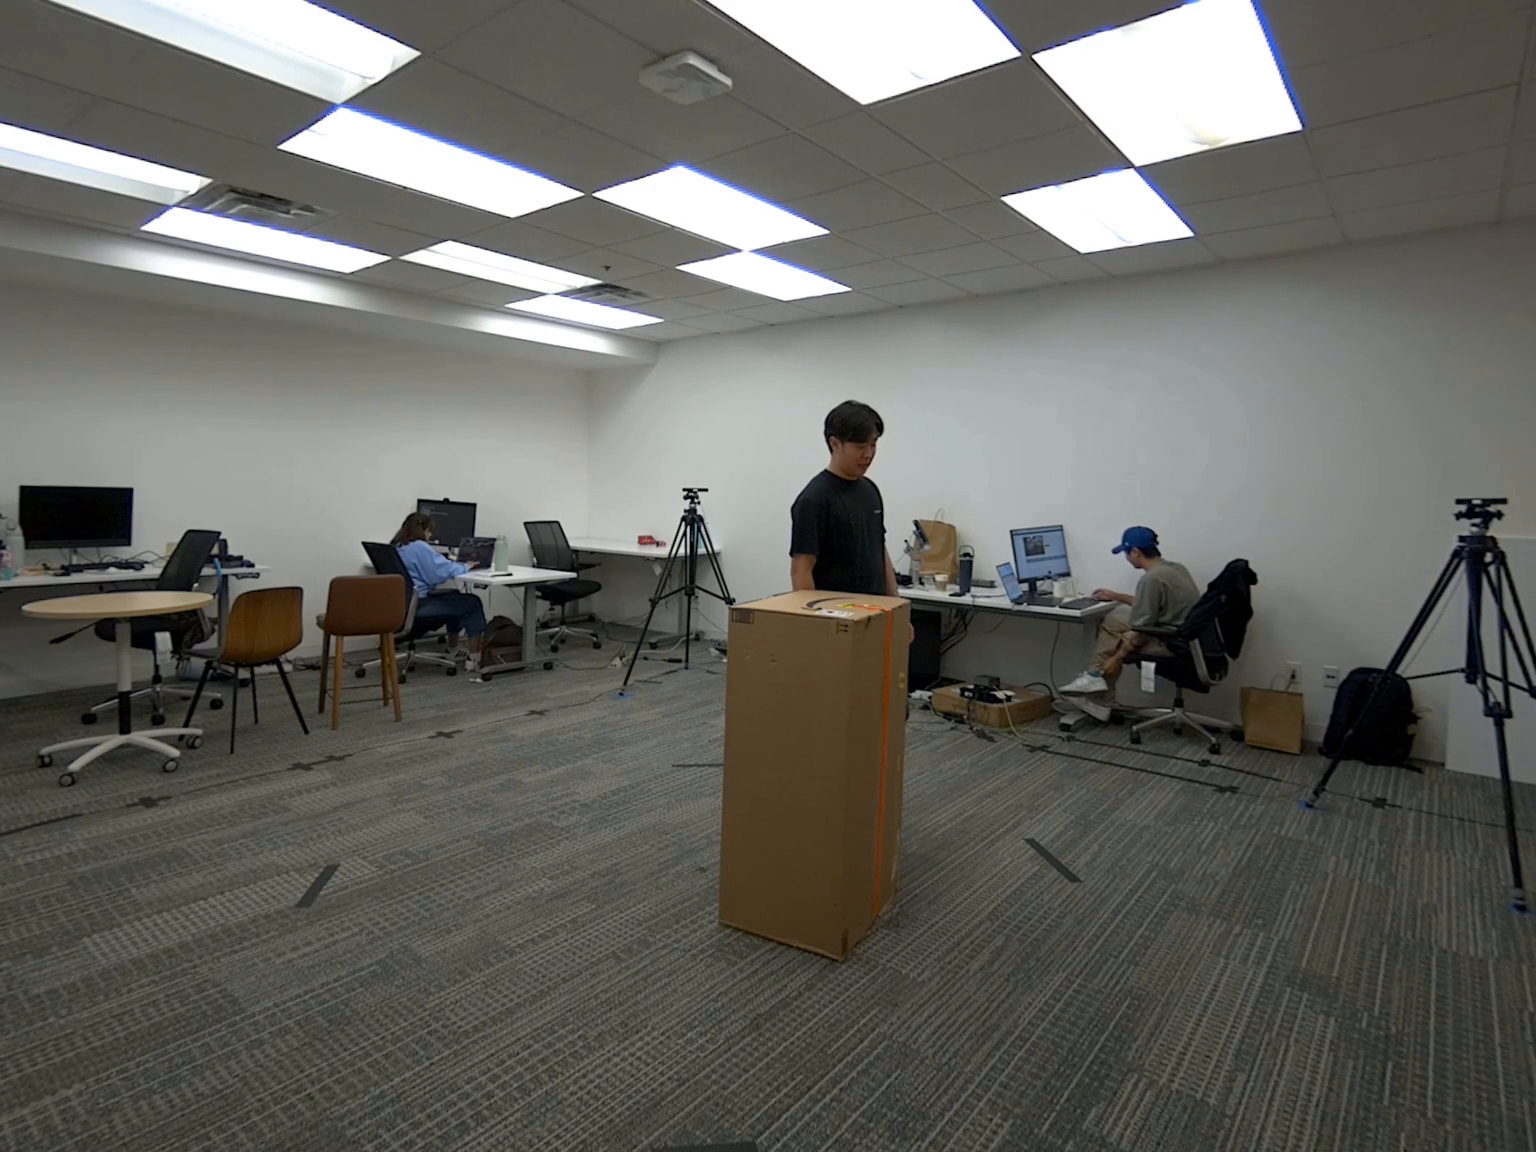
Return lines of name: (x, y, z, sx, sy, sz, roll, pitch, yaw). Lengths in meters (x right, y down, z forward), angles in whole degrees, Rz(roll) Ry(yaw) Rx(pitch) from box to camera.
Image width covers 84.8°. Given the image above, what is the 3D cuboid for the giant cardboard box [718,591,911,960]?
giant cardboard box: (0.163, 0.593, 2.834, 0.460, 1.024, 0.569, 4, 4, 28)
